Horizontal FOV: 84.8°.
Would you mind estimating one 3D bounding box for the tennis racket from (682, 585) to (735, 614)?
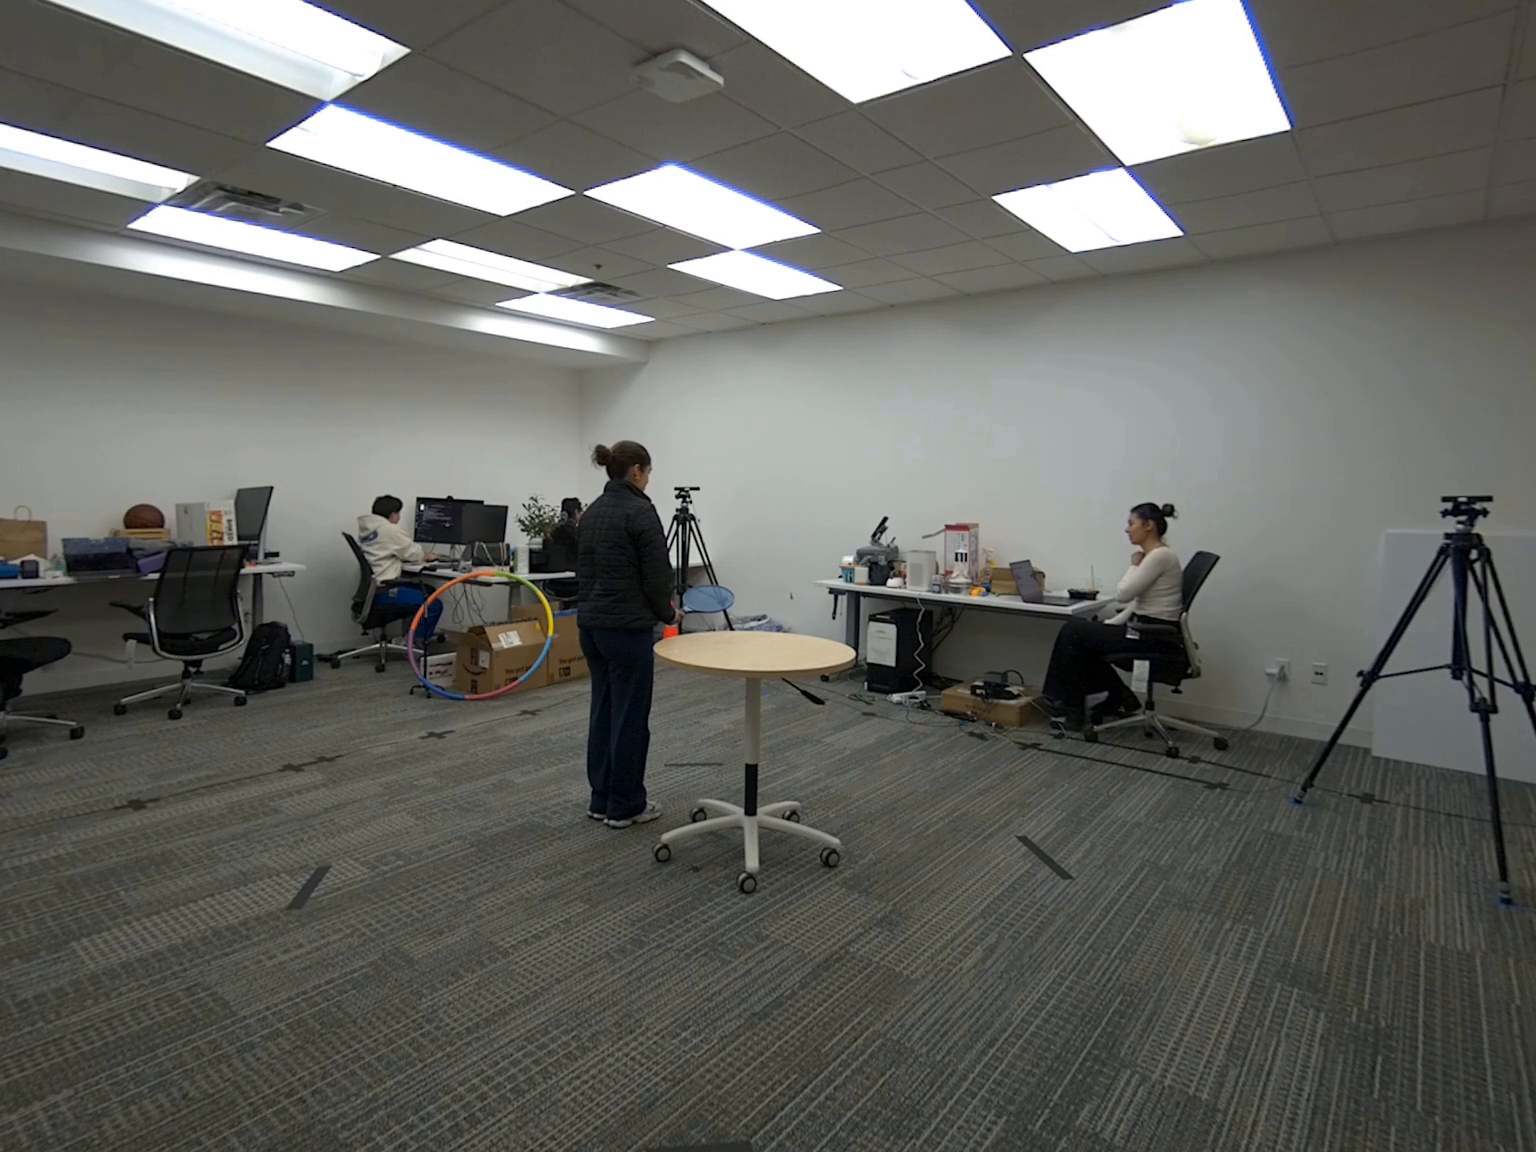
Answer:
[{"bbox_3d":[-0.307,0.128,3.821,0.222,0.031,0.425,27,35,34],"label":"tennis racket"}]
